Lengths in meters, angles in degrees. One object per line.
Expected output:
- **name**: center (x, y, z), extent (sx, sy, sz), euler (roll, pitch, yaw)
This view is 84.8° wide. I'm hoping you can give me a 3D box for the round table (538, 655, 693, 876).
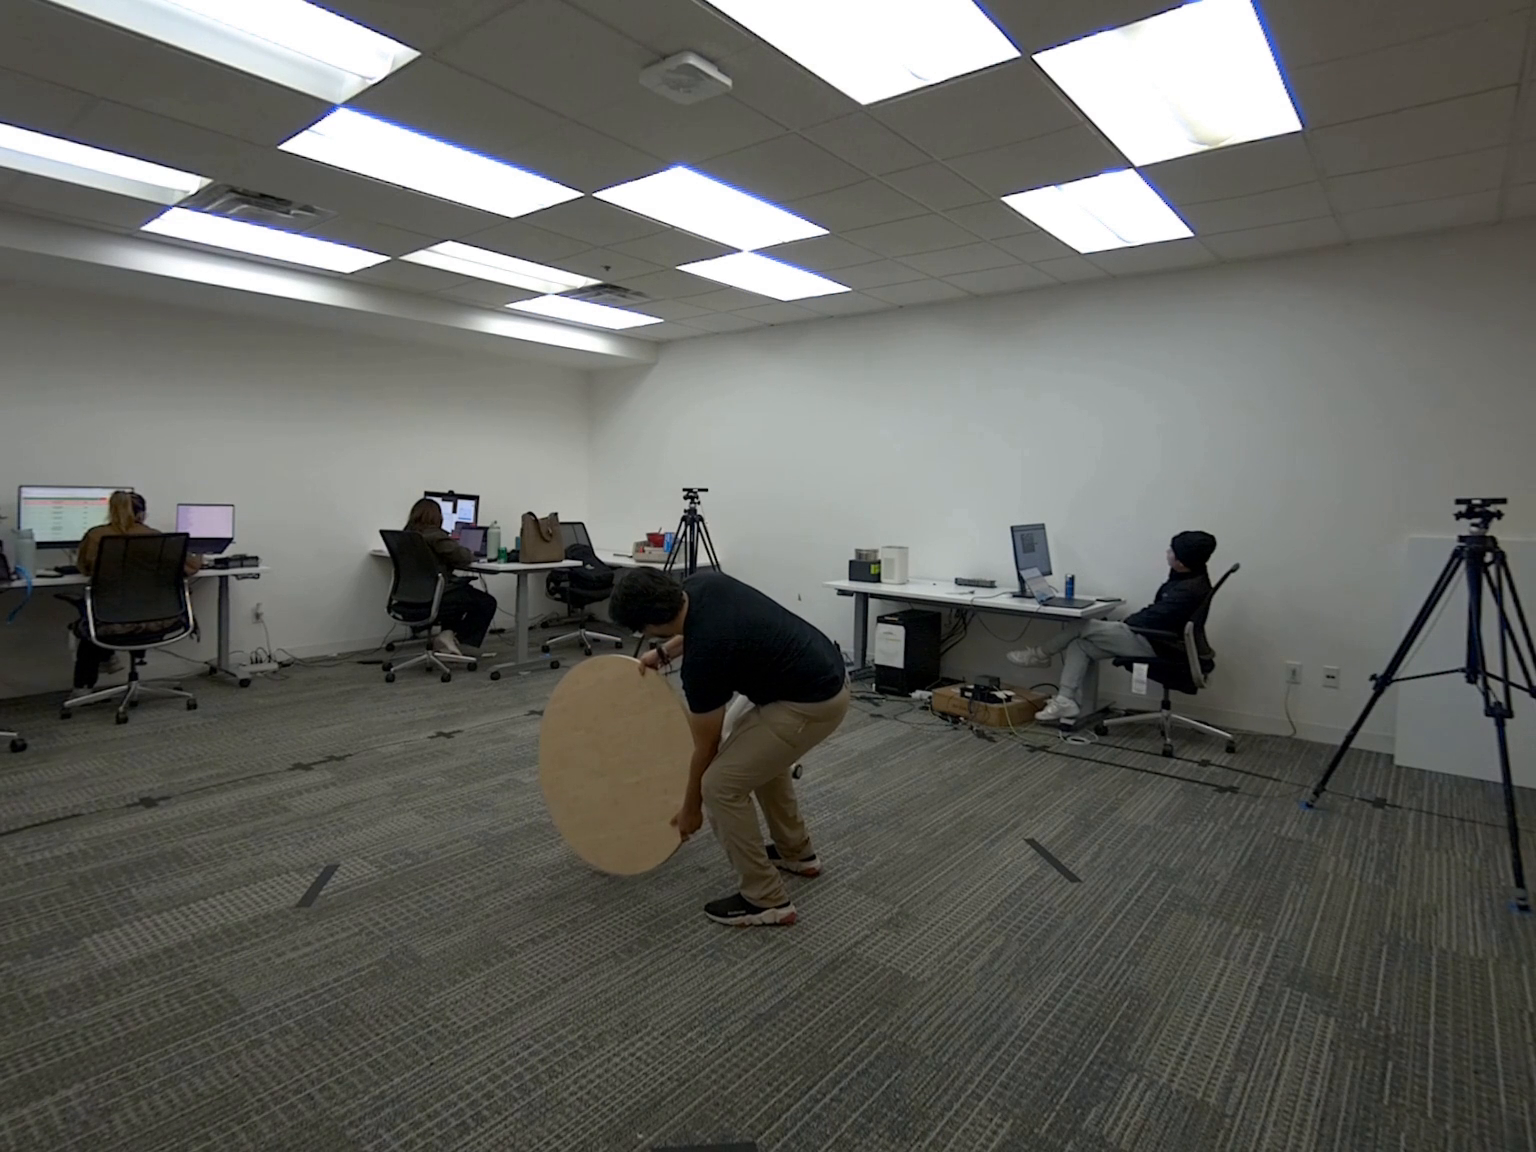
- **round table**: center (-0.366, 0.661, 3.363), extent (0.809, 0.785, 0.762), euler (4, 0, 33)
